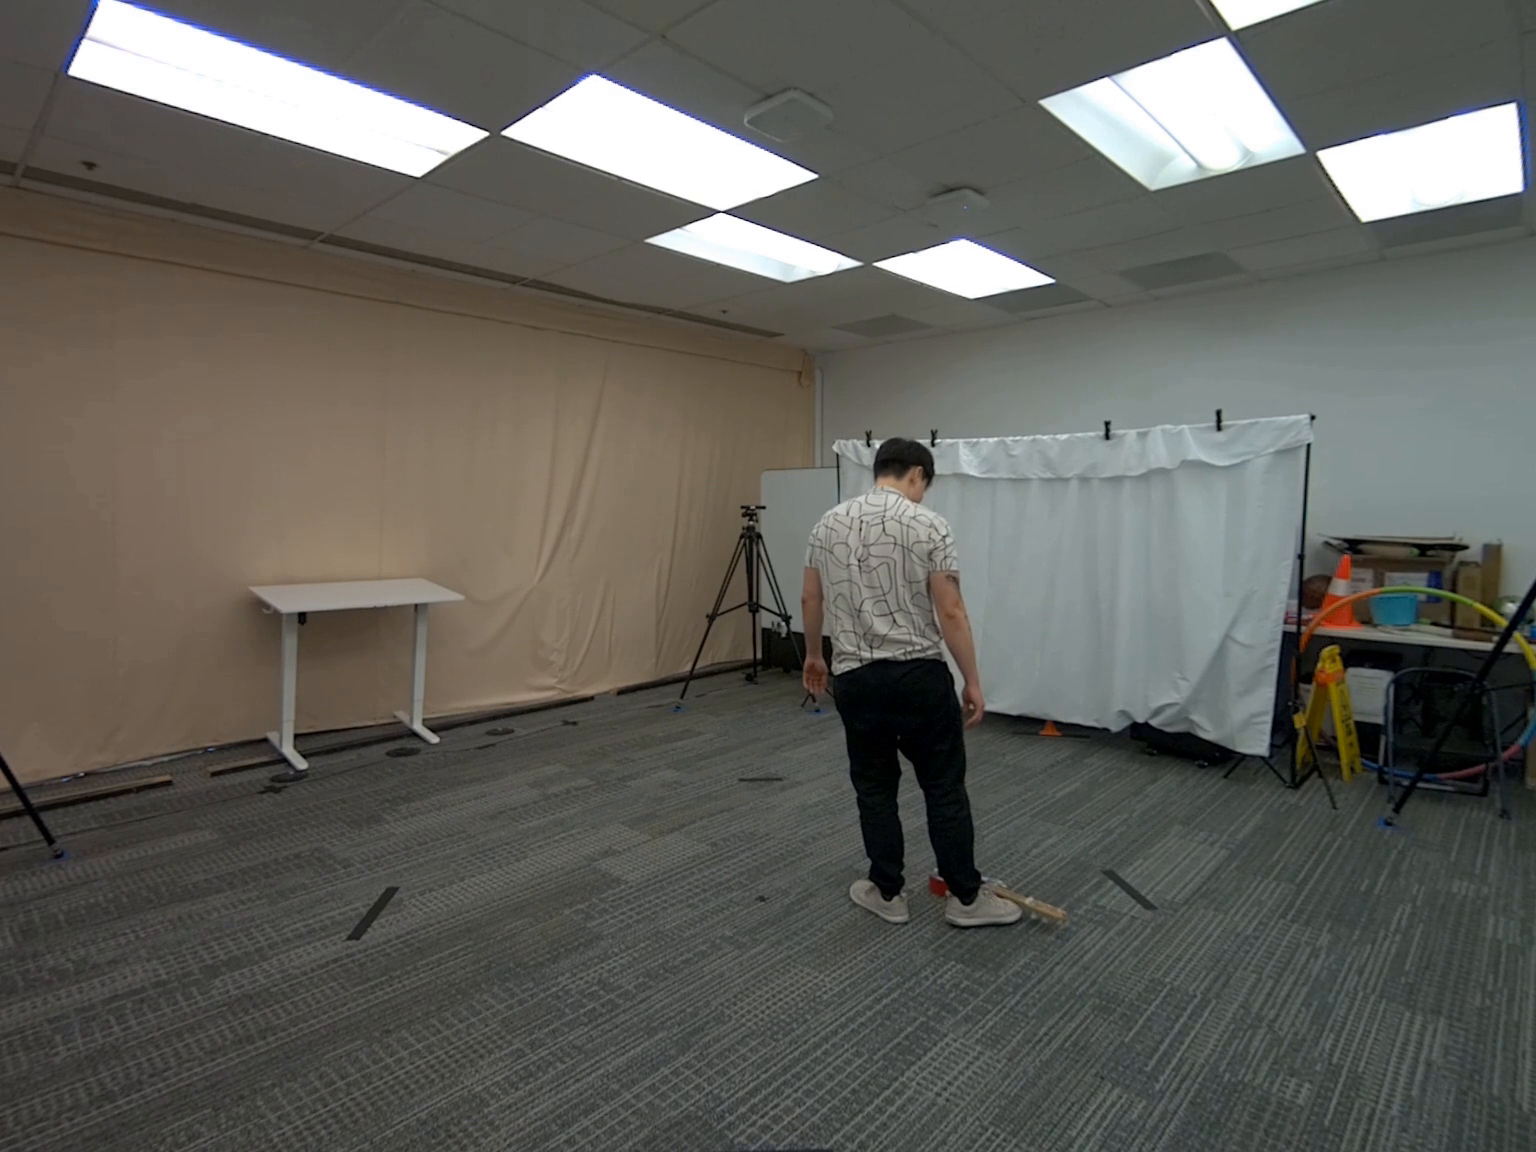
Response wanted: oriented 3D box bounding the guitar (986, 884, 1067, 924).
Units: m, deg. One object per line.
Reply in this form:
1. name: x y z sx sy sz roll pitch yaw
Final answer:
1. guitar: 0.780 1.115 2.908 0.188 0.070 0.512 -3 5 -31
